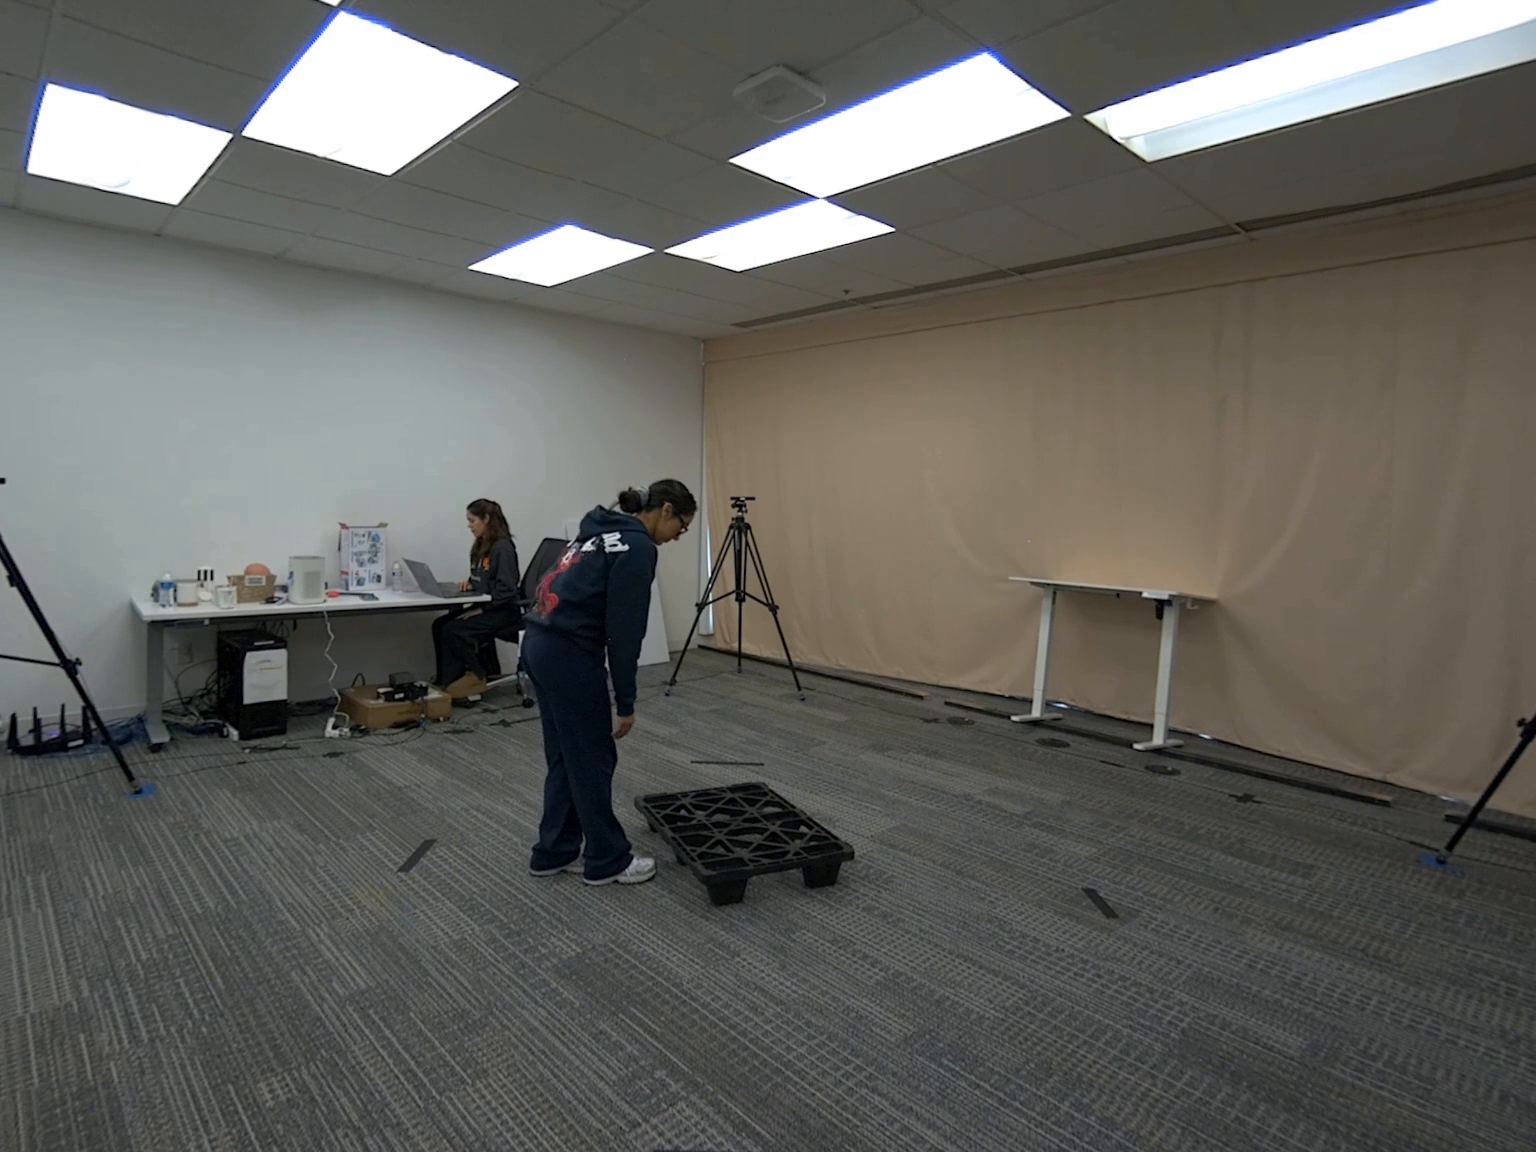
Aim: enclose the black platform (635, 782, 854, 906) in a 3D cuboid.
[{"bbox_3d":[-0.129,1.025,3.290,0.594,0.143,0.822,0,5,-25],"label":"black platform"}]
